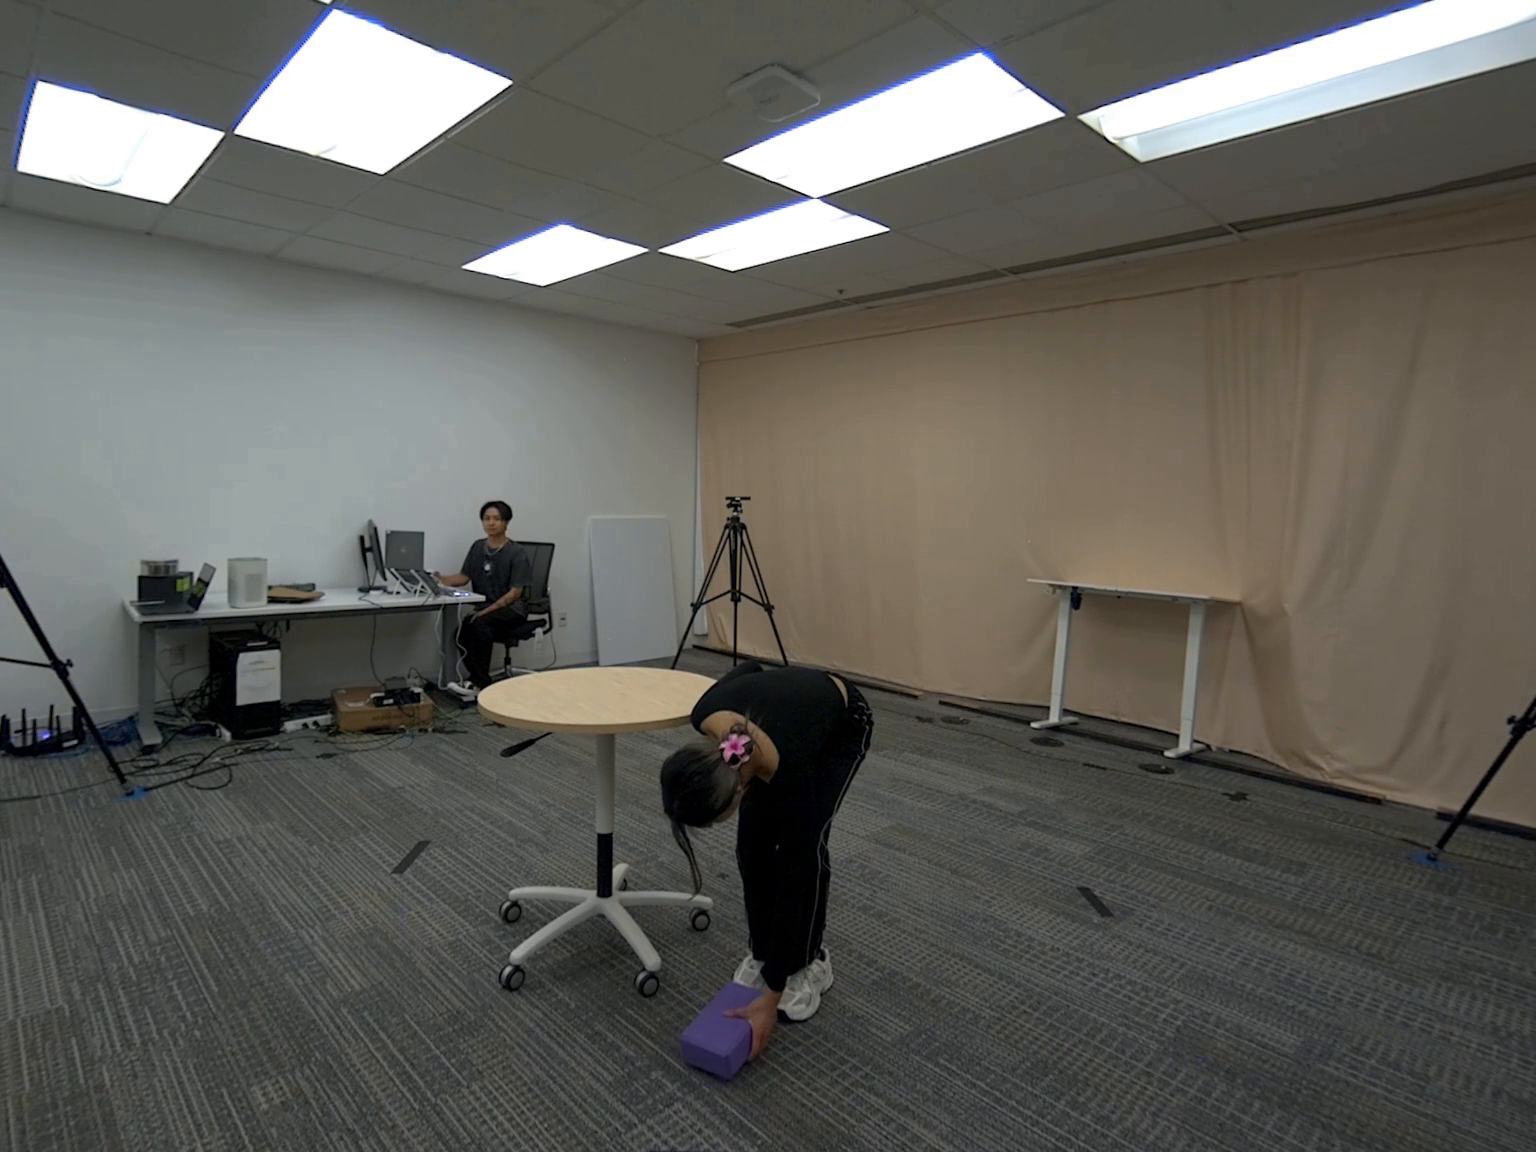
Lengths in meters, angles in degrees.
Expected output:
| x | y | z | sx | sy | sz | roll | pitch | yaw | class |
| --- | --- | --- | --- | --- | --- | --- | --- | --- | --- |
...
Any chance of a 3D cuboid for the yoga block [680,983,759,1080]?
| x | y | z | sx | sy | sz | roll | pitch | yaw | class |
| --- | --- | --- | --- | --- | --- | --- | --- | --- | --- |
| -0.112 | 1.138 | 2.103 | 0.152 | 0.076 | 0.226 | 2 | 12 | 31 | yoga block |
